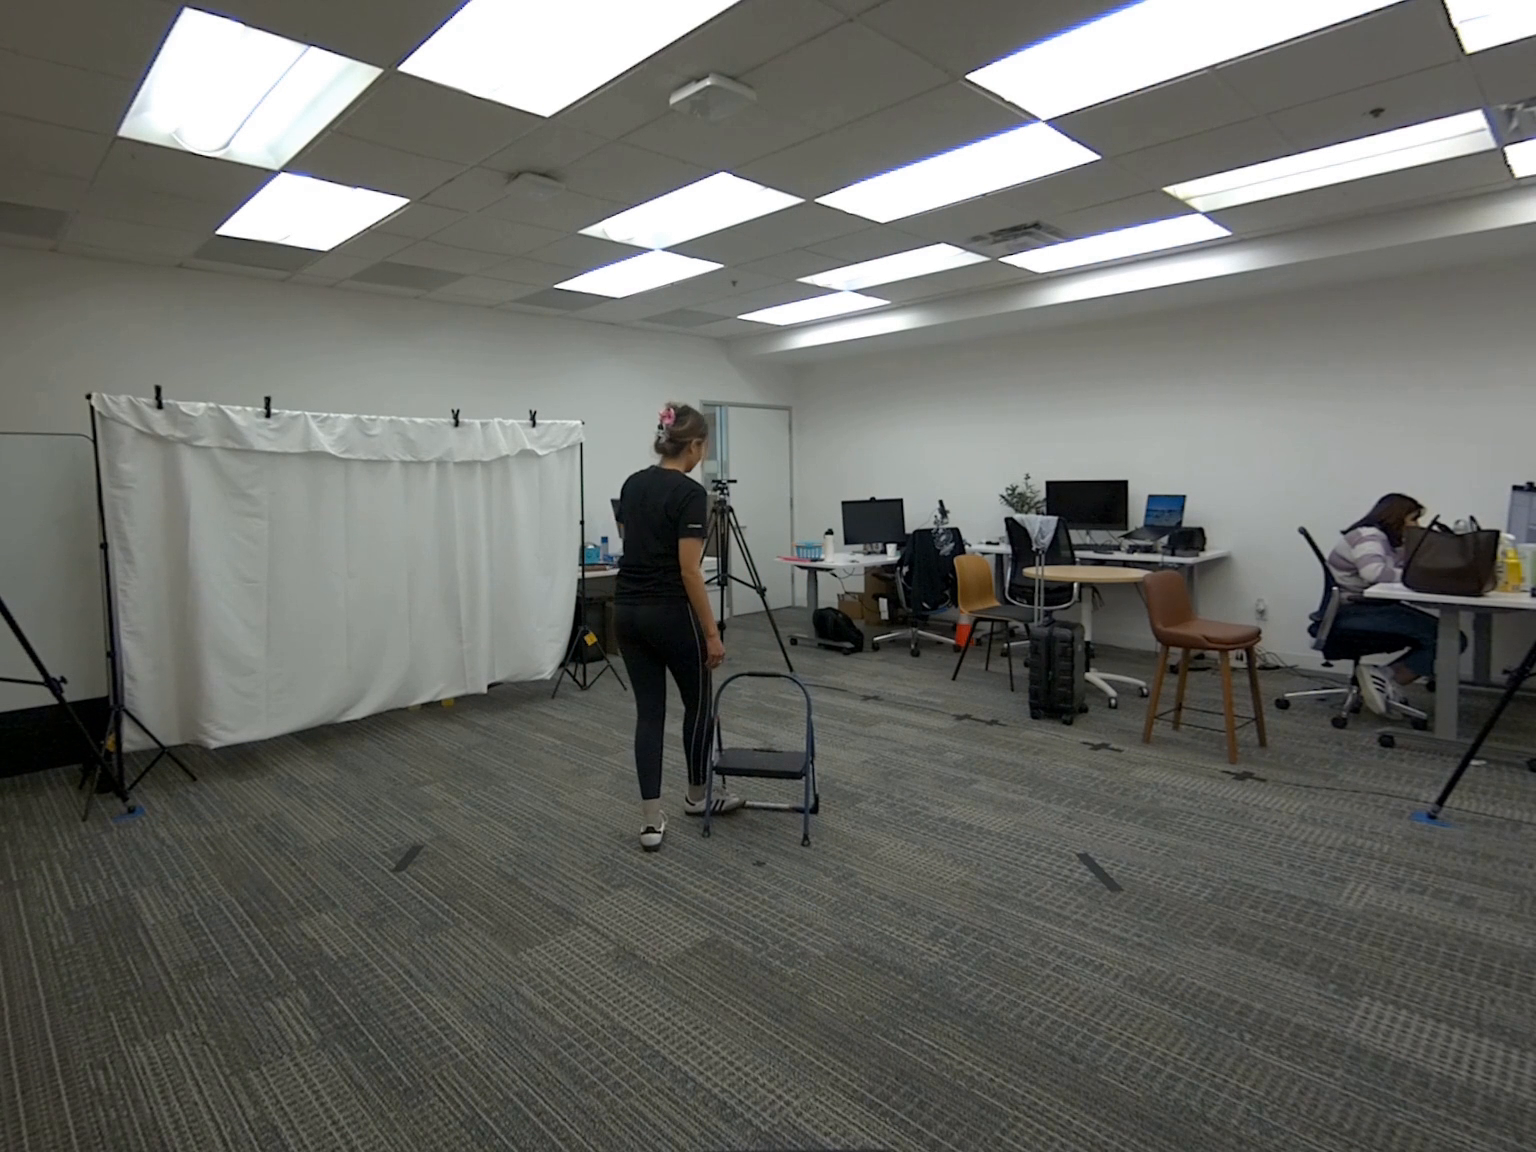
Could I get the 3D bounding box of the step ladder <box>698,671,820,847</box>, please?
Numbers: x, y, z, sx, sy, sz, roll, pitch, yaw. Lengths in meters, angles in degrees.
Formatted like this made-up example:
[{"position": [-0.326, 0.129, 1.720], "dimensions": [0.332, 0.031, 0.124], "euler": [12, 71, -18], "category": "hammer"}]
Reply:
[{"position": [-0.019, 0.703, 3.448], "dimensions": [0.436, 0.604, 0.346], "euler": [0, 4, 12], "category": "step ladder"}]
